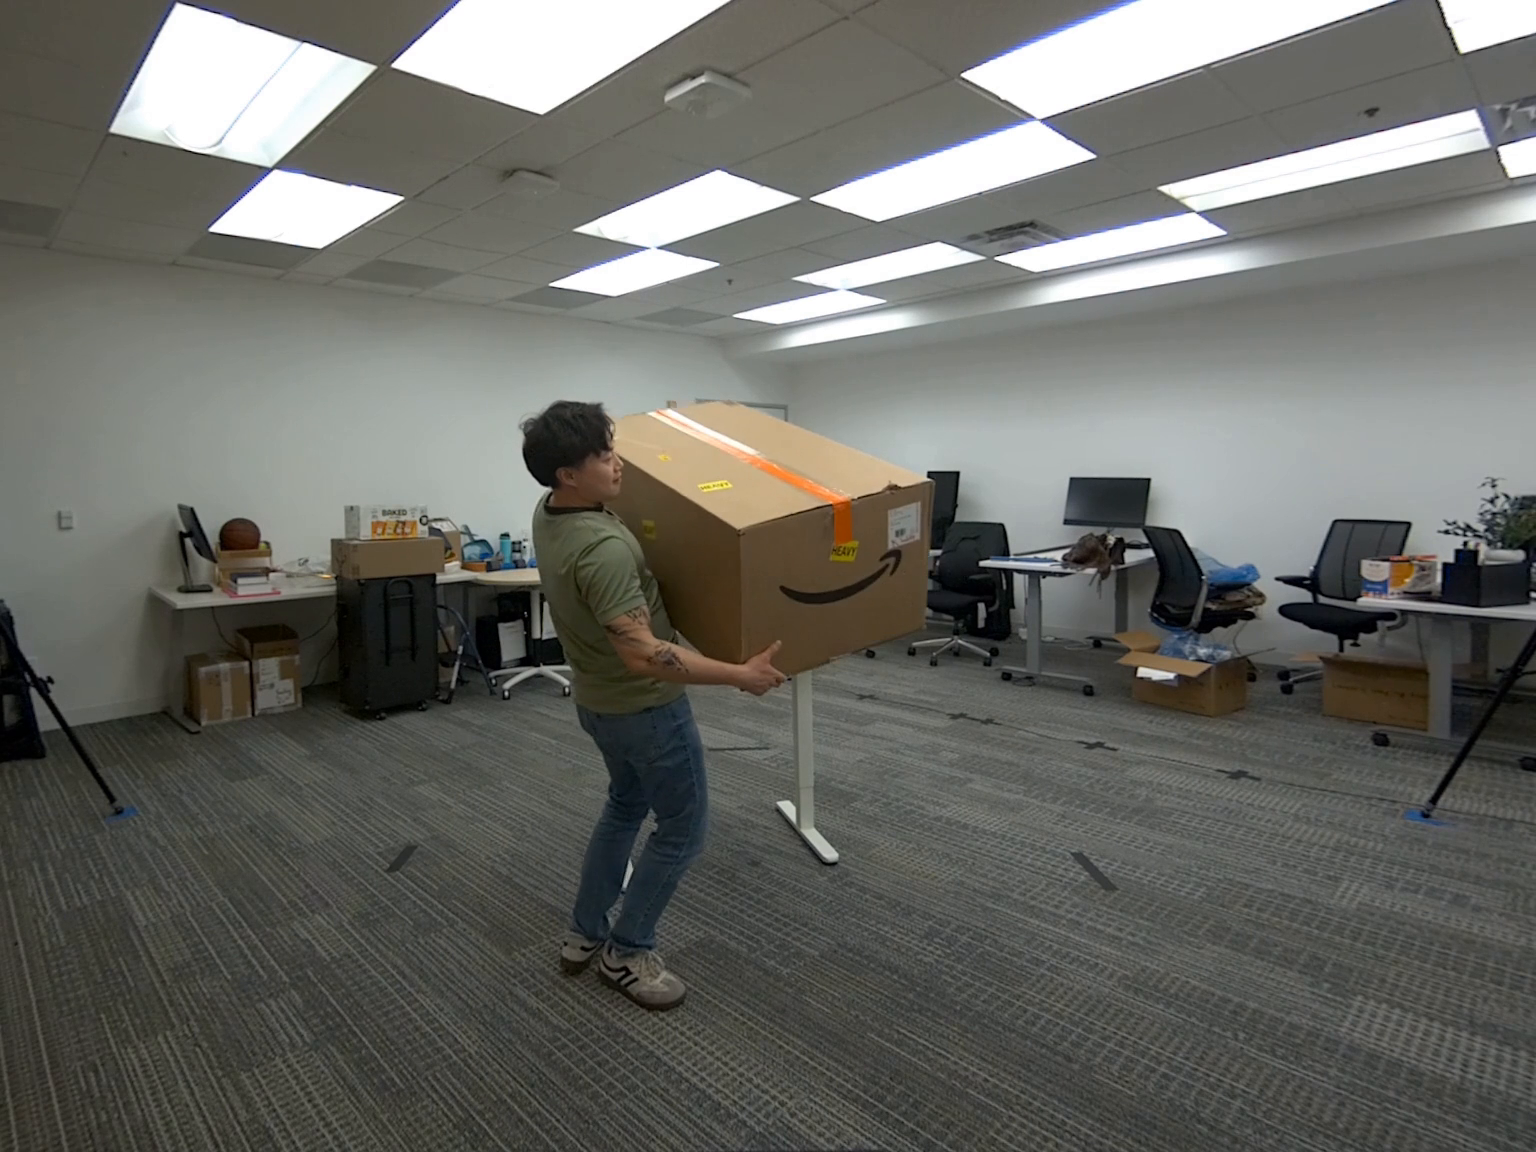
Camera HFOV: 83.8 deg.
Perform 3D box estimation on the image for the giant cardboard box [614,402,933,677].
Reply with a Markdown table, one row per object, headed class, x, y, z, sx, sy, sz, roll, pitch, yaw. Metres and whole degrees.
| class | x | y | z | sx | sy | sz | roll | pitch | yaw |
| --- | --- | --- | --- | --- | --- | --- | --- | --- | --- |
| giant cardboard box | -0.096 | -0.172 | 2.493 | 0.568 | 0.417 | 1.065 | -15 | 28 | -27 |
